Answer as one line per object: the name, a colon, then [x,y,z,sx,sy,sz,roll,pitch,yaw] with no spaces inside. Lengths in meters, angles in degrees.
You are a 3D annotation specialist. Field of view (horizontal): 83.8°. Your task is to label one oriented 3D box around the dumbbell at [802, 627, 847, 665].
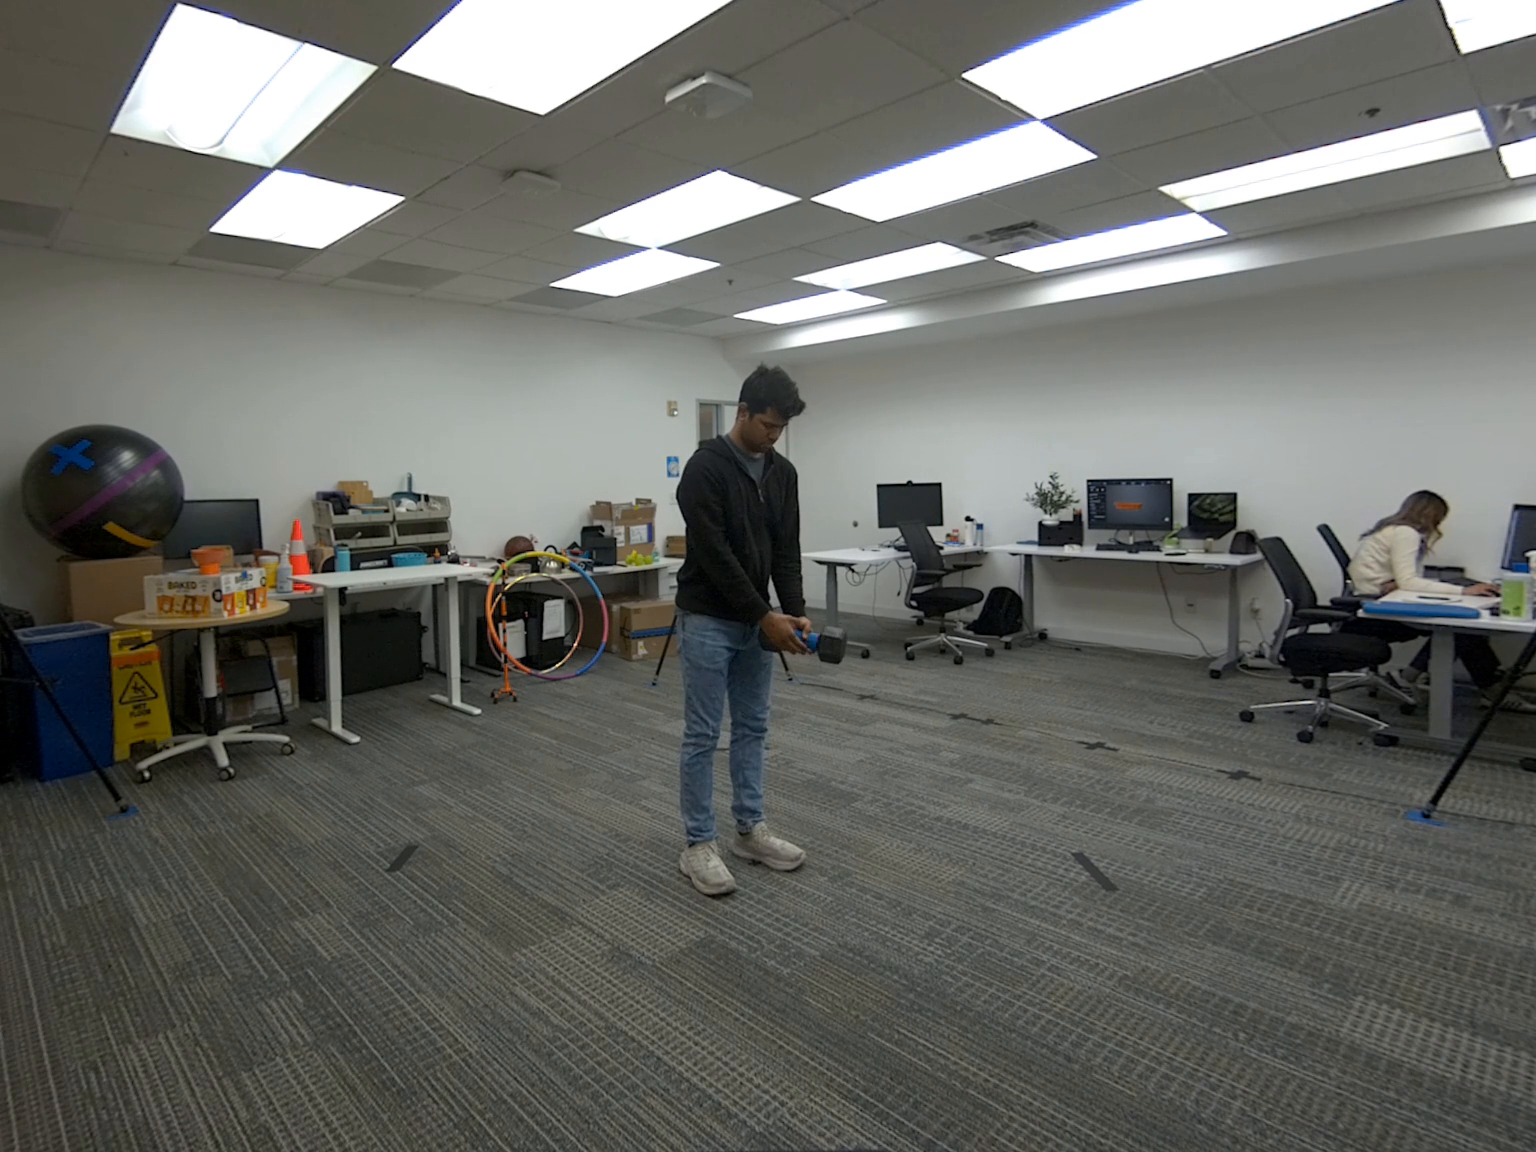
dumbbell: [0.112,0.230,2.945,0.299,0.106,0.123,6,27,19]
